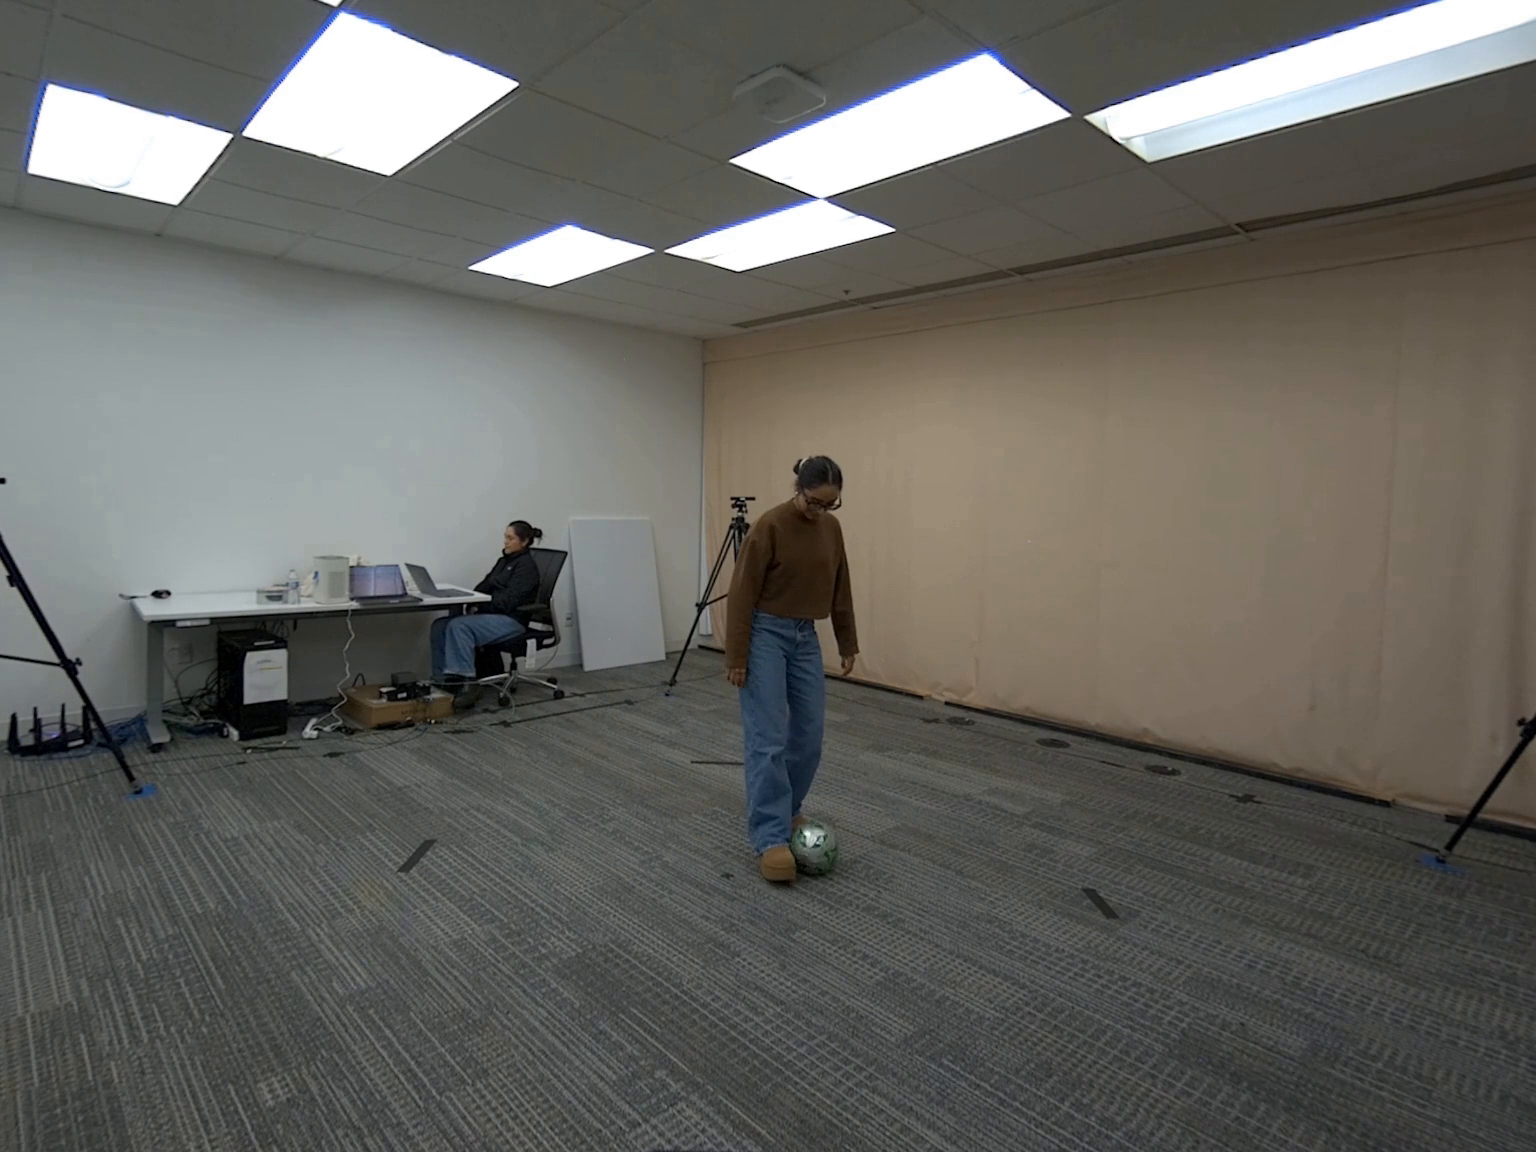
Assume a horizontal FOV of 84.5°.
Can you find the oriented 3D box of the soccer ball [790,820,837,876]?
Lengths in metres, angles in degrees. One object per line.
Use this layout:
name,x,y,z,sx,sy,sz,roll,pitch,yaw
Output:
soccer ball,0.152,1.016,3.145,0.187,0.187,0.188,1,4,-1
